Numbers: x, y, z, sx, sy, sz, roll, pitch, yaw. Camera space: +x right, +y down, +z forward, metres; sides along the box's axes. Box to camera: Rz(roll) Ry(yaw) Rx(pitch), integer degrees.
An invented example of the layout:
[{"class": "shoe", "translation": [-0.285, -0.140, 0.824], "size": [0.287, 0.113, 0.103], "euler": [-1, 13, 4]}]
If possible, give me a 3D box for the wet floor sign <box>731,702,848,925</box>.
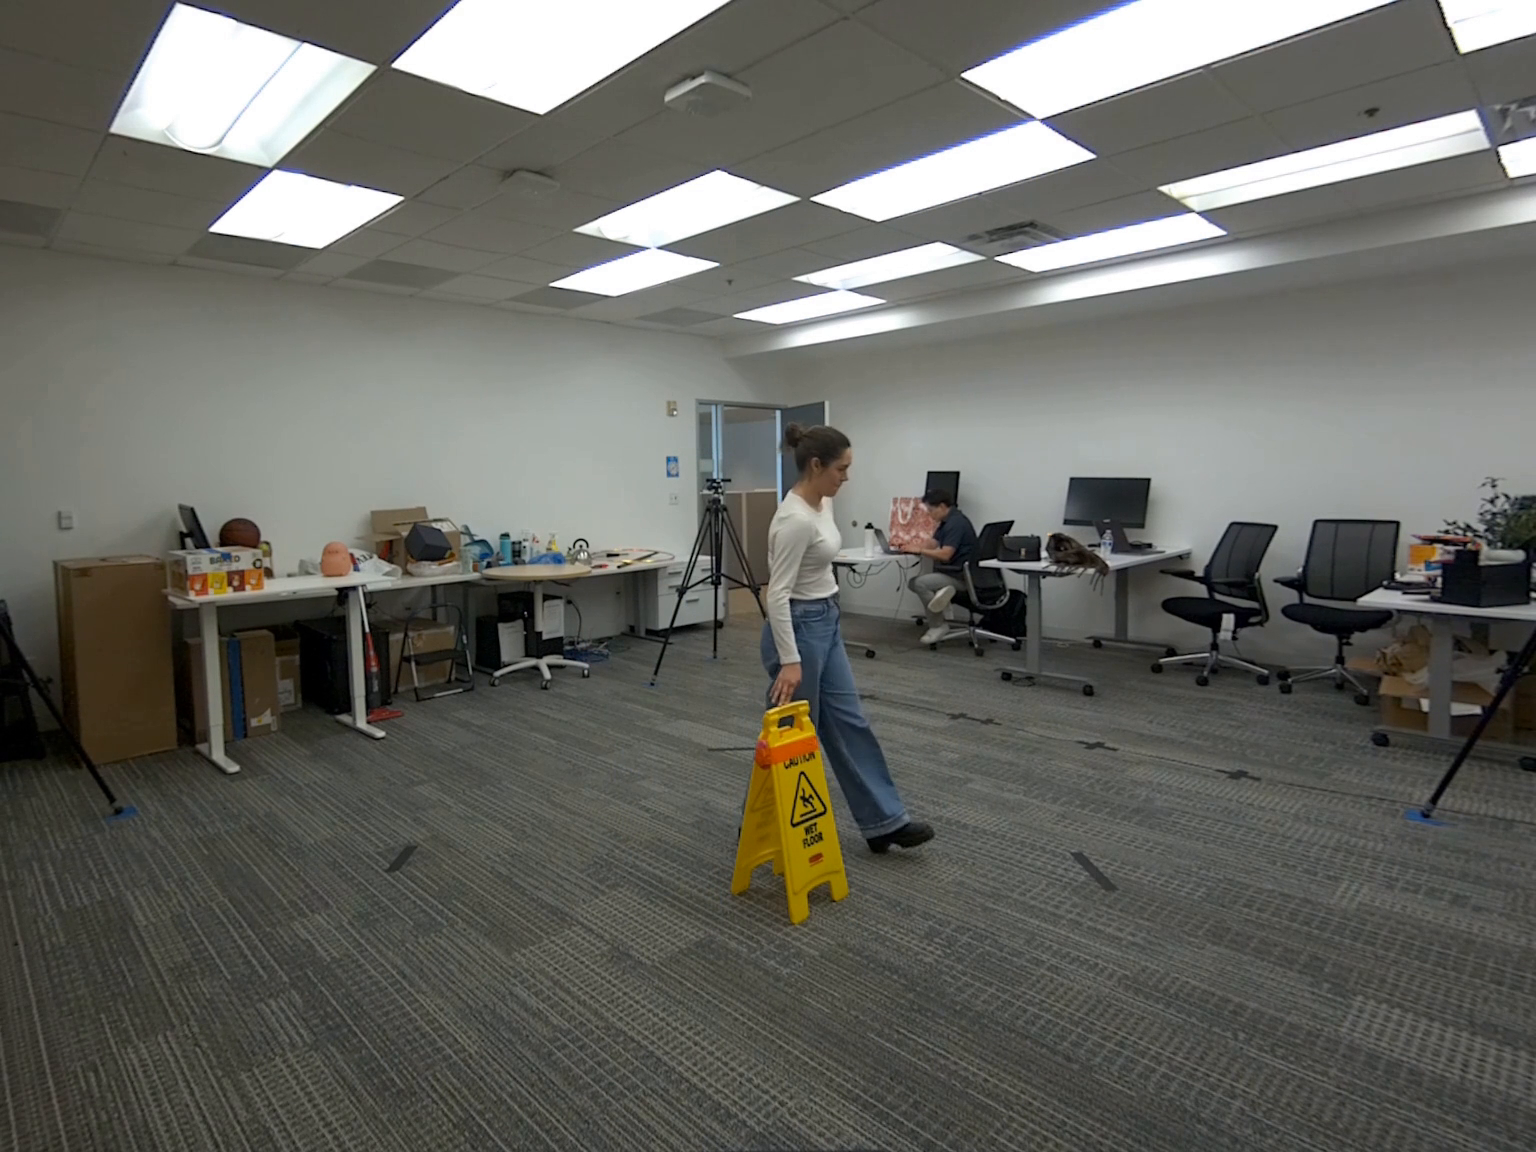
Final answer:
[{"class": "wet floor sign", "translation": [0.070, 0.751, 2.844], "size": [0.299, 0.643, 0.275], "euler": [4, 7, 45]}]
